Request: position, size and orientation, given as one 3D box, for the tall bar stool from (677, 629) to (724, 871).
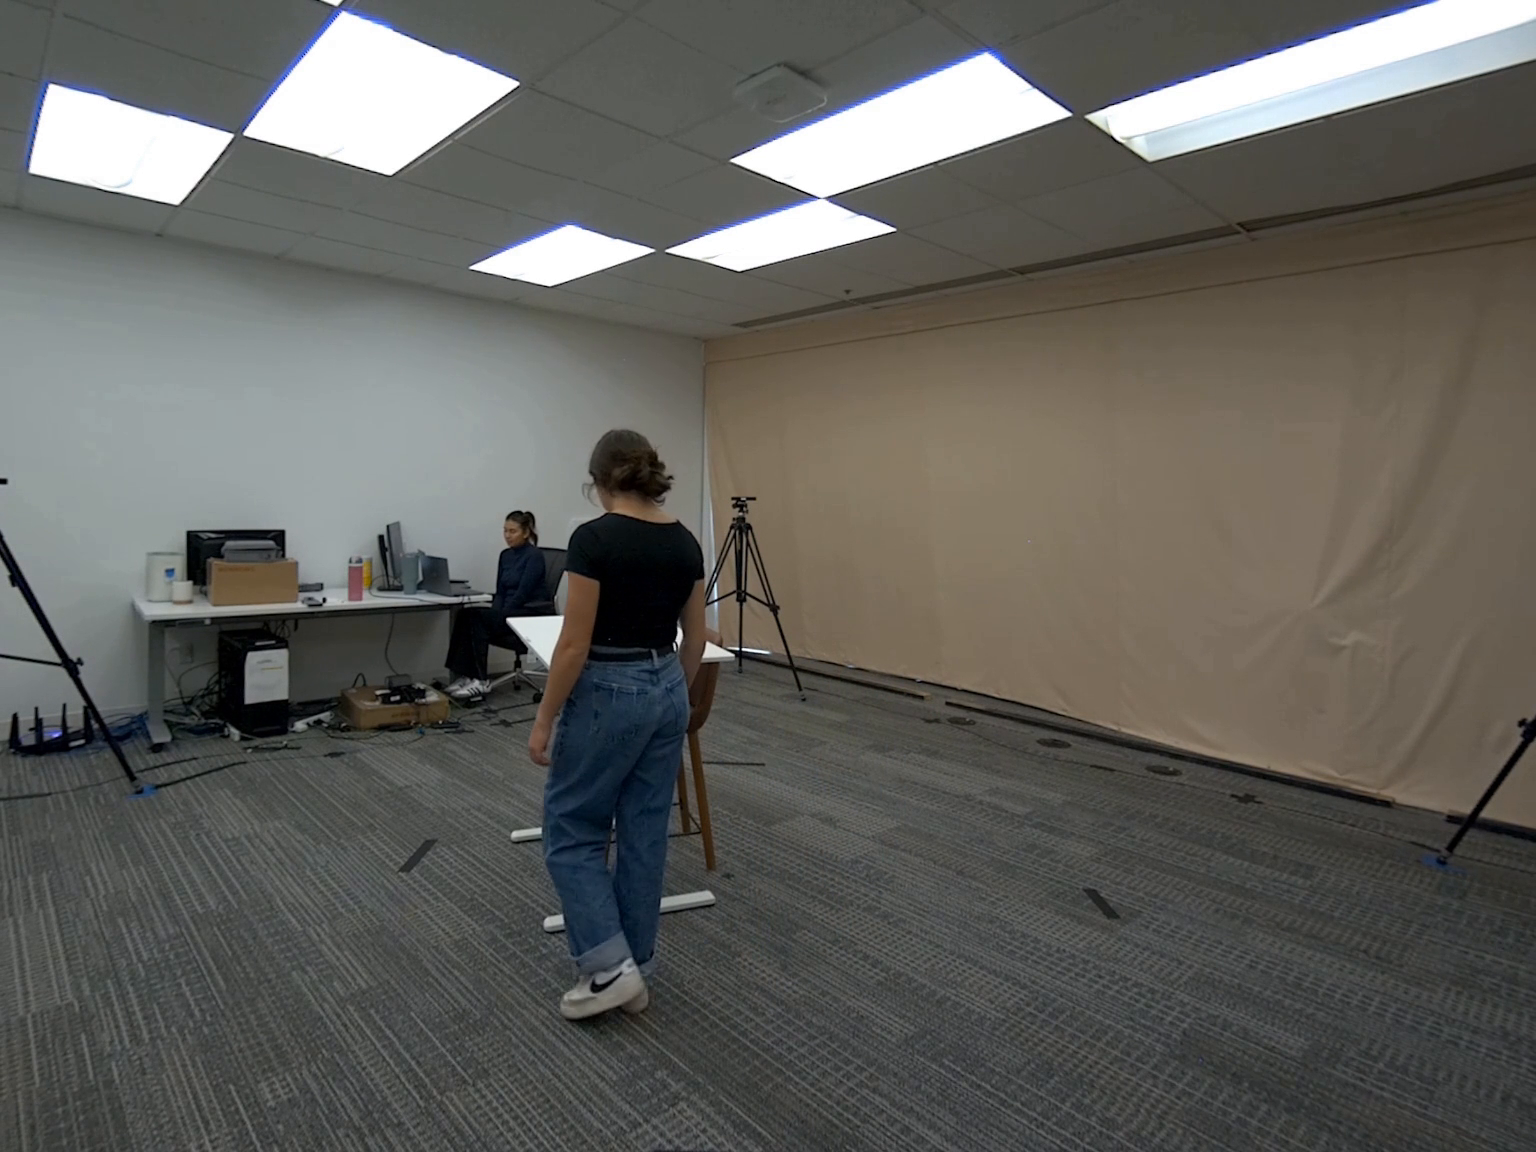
[{"bbox_3d":[-0.457,0.663,3.229,0.460,0.888,0.464,2,3,-20],"label":"tall bar stool"}]
